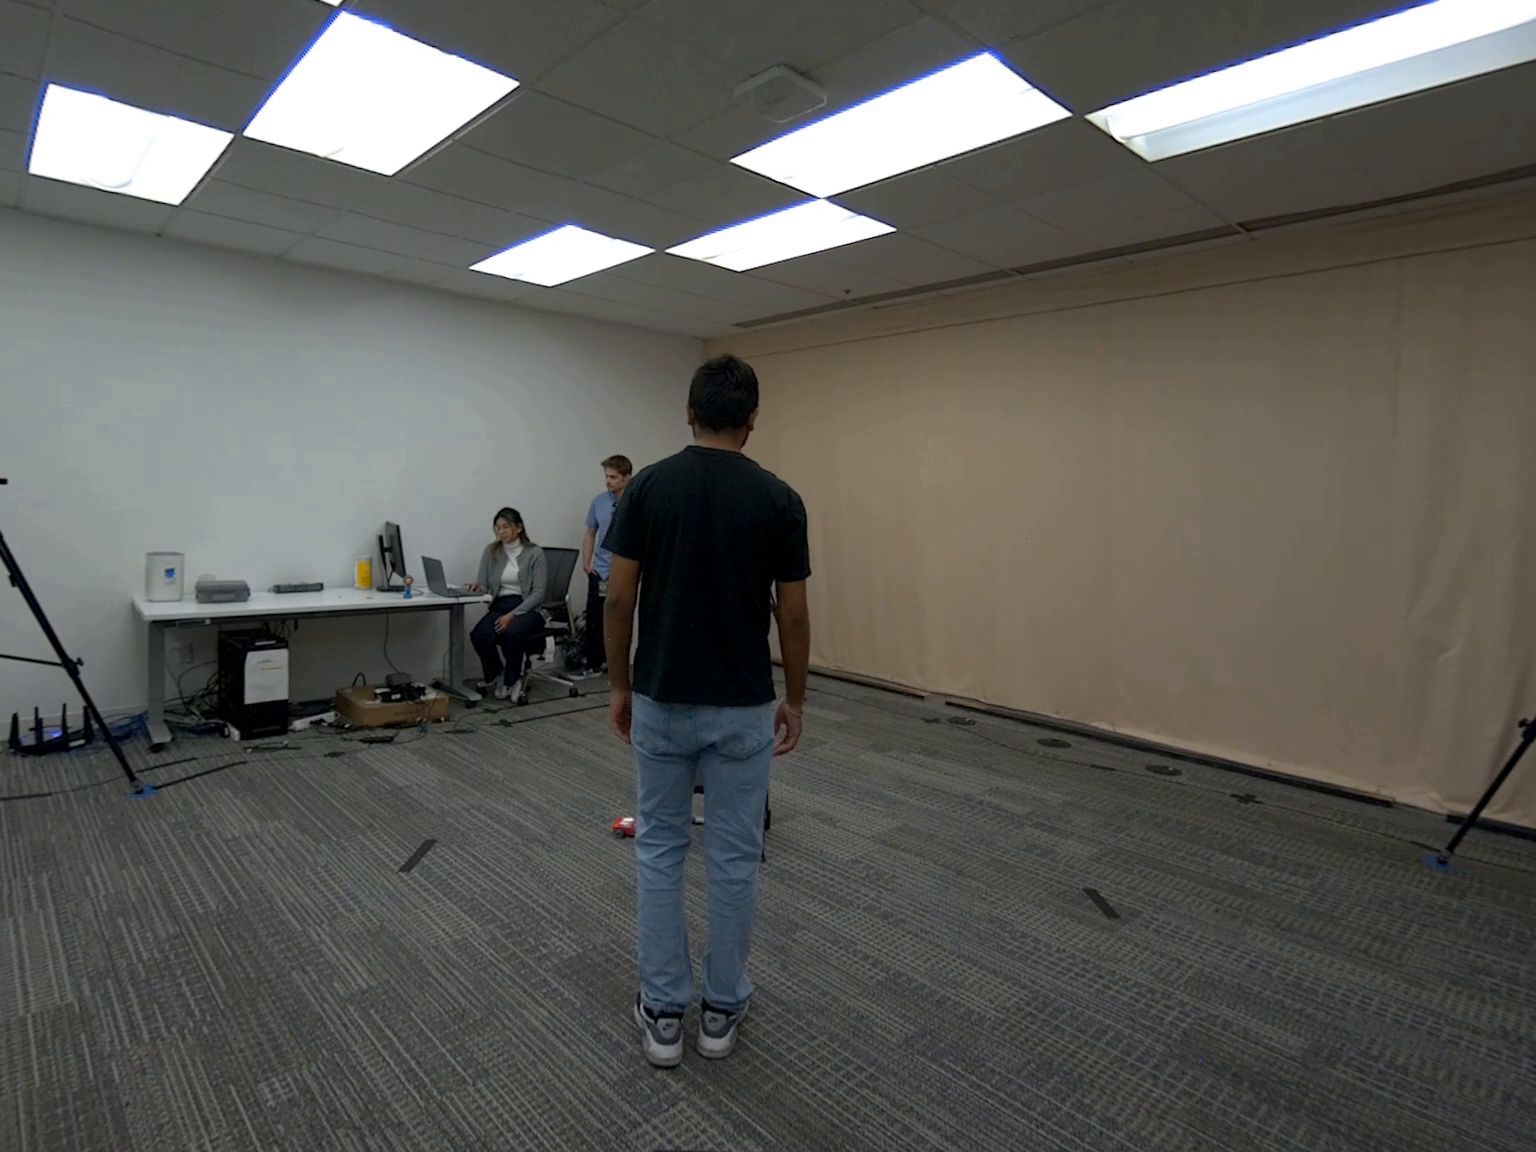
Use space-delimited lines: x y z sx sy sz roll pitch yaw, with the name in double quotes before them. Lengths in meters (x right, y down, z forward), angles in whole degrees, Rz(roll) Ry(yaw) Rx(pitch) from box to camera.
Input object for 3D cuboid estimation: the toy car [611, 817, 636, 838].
"toy car" -0.520 1.046 3.472 0.256 0.083 0.130 -12 4 11
